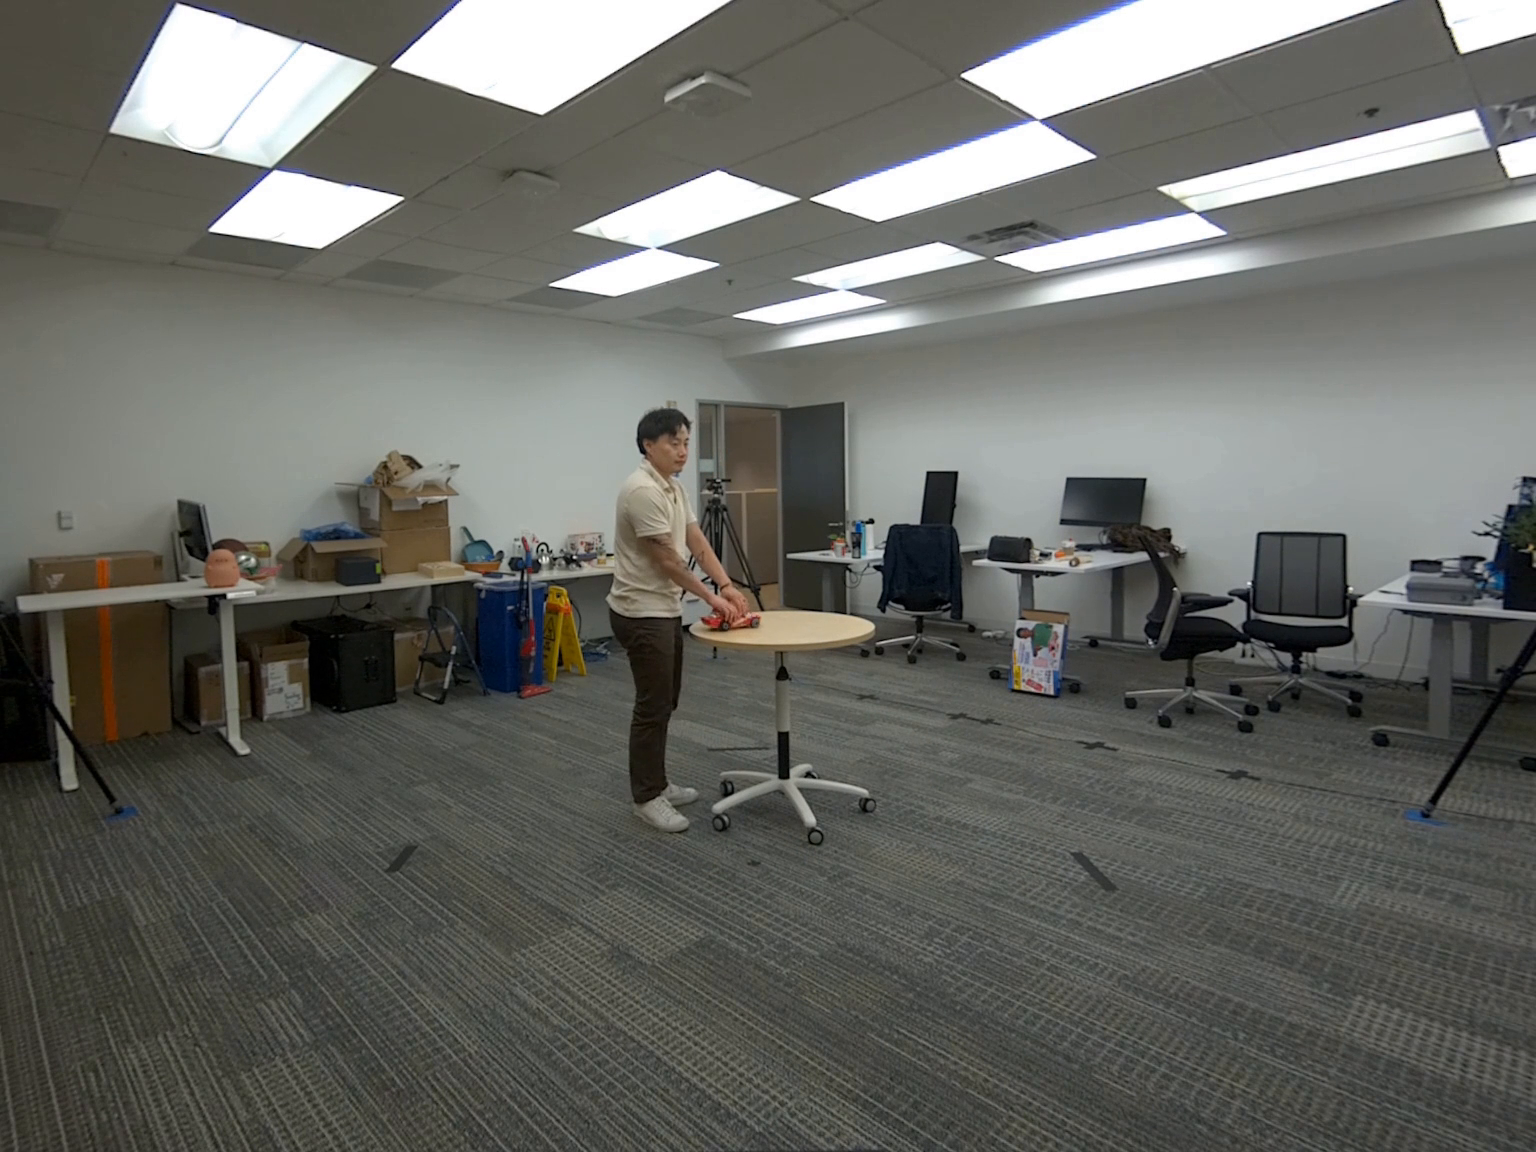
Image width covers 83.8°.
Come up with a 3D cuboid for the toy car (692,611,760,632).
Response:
[{"bbox_3d":[-0.161,0.185,3.520,0.248,0.083,0.134,8,0,-28],"label":"toy car"}]
